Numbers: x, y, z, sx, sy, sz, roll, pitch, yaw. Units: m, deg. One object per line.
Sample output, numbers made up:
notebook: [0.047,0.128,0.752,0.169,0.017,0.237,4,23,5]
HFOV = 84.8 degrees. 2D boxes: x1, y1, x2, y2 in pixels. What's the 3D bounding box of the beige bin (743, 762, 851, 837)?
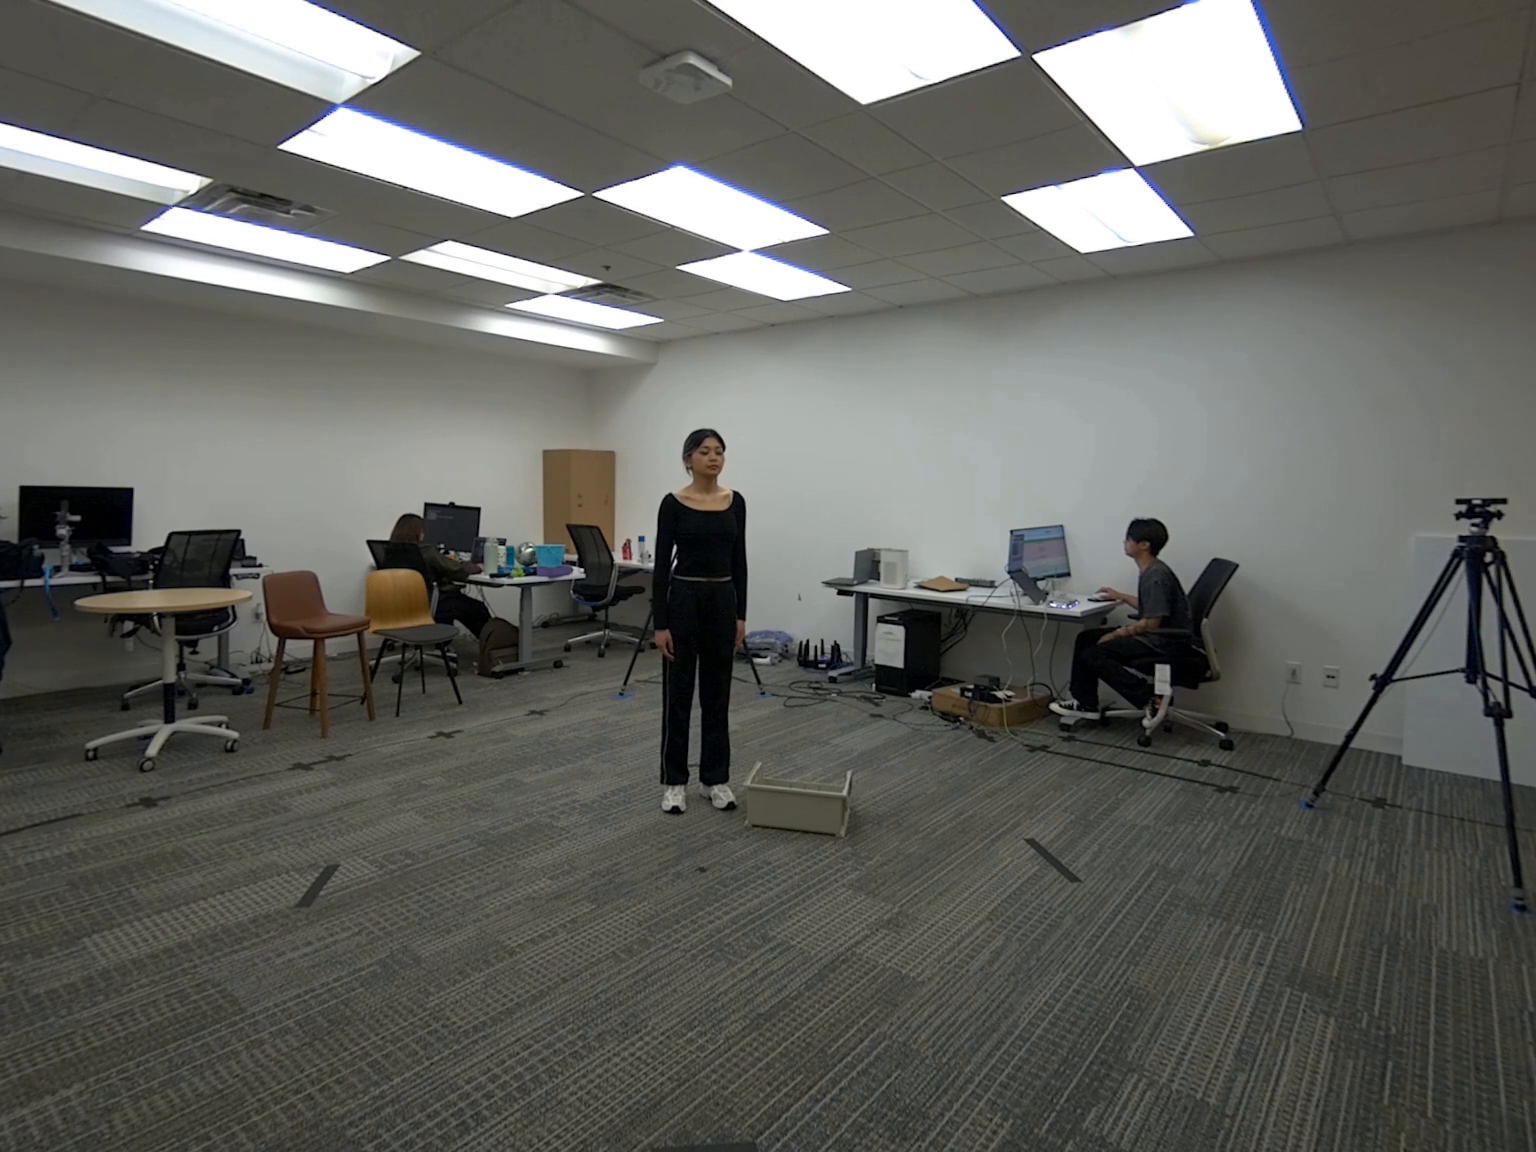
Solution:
beige bin: [0.128,0.938,3.640,0.428,0.188,0.374,3,6,12]
